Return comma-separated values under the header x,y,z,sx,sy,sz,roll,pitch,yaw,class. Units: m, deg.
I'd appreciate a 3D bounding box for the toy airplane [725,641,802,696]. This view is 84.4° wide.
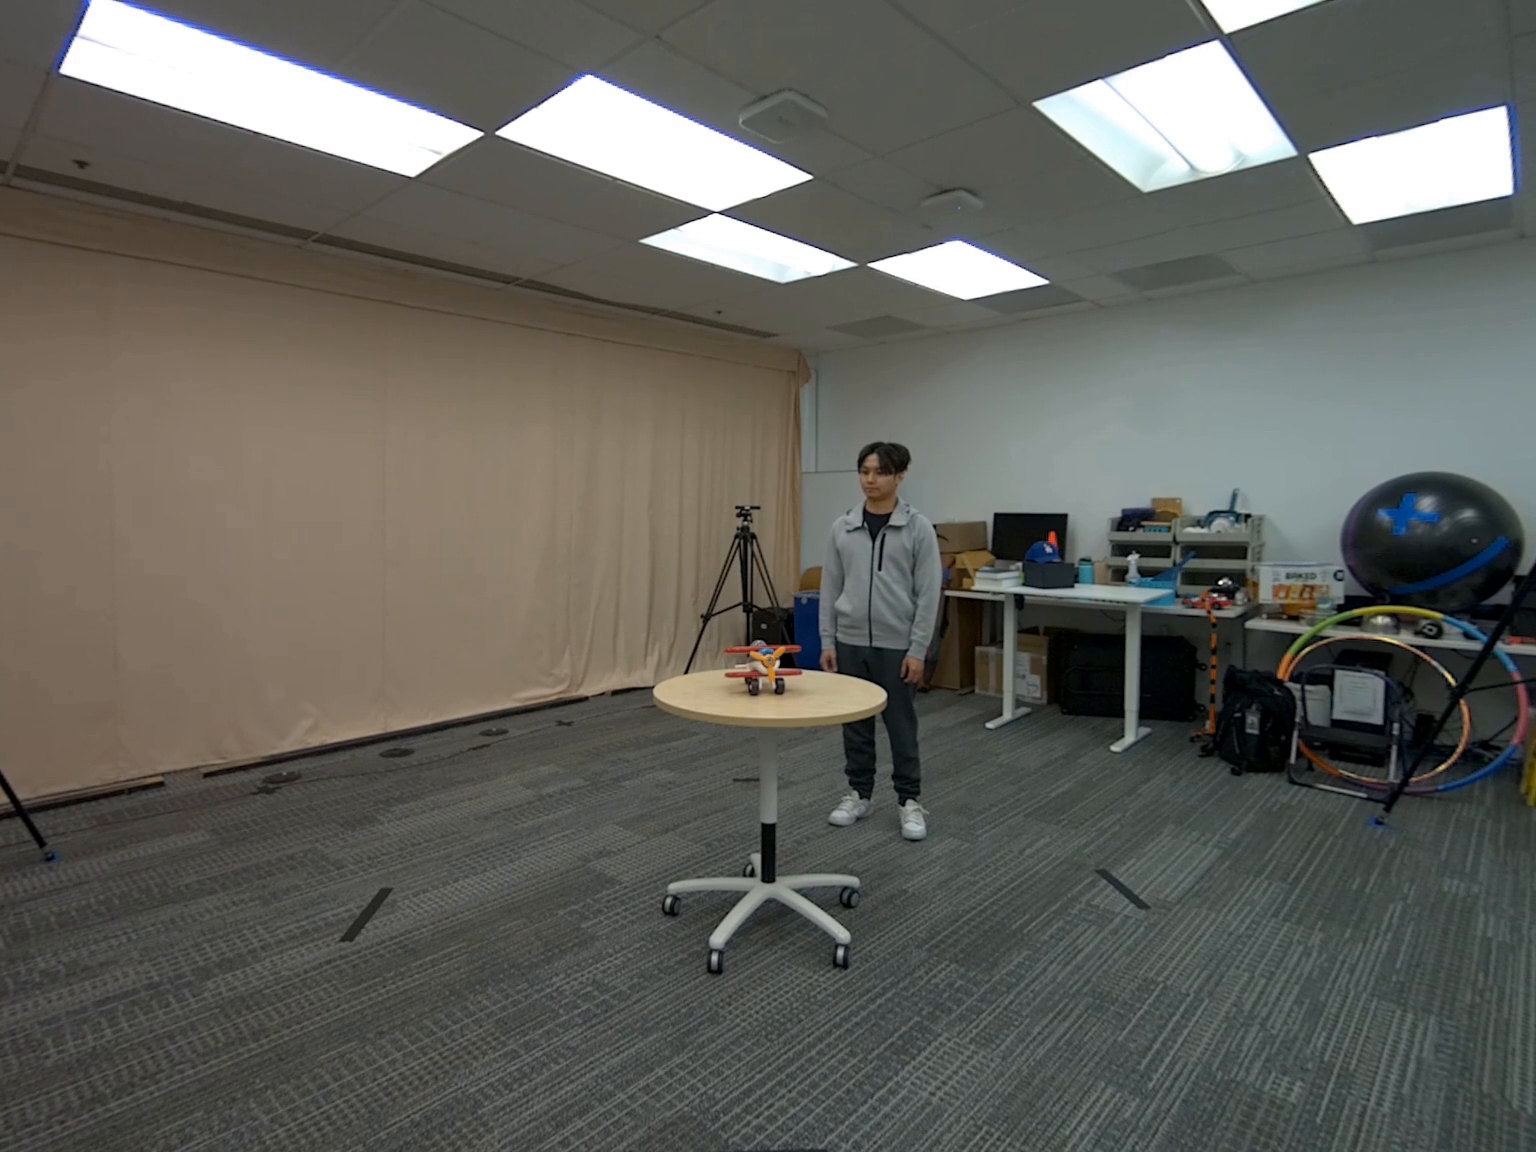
x,y,z,sx,sy,sz,roll,pitch,yaw,class
-0.040,0.300,2.785,0.243,0.156,0.268,-5,6,-40,toy airplane
